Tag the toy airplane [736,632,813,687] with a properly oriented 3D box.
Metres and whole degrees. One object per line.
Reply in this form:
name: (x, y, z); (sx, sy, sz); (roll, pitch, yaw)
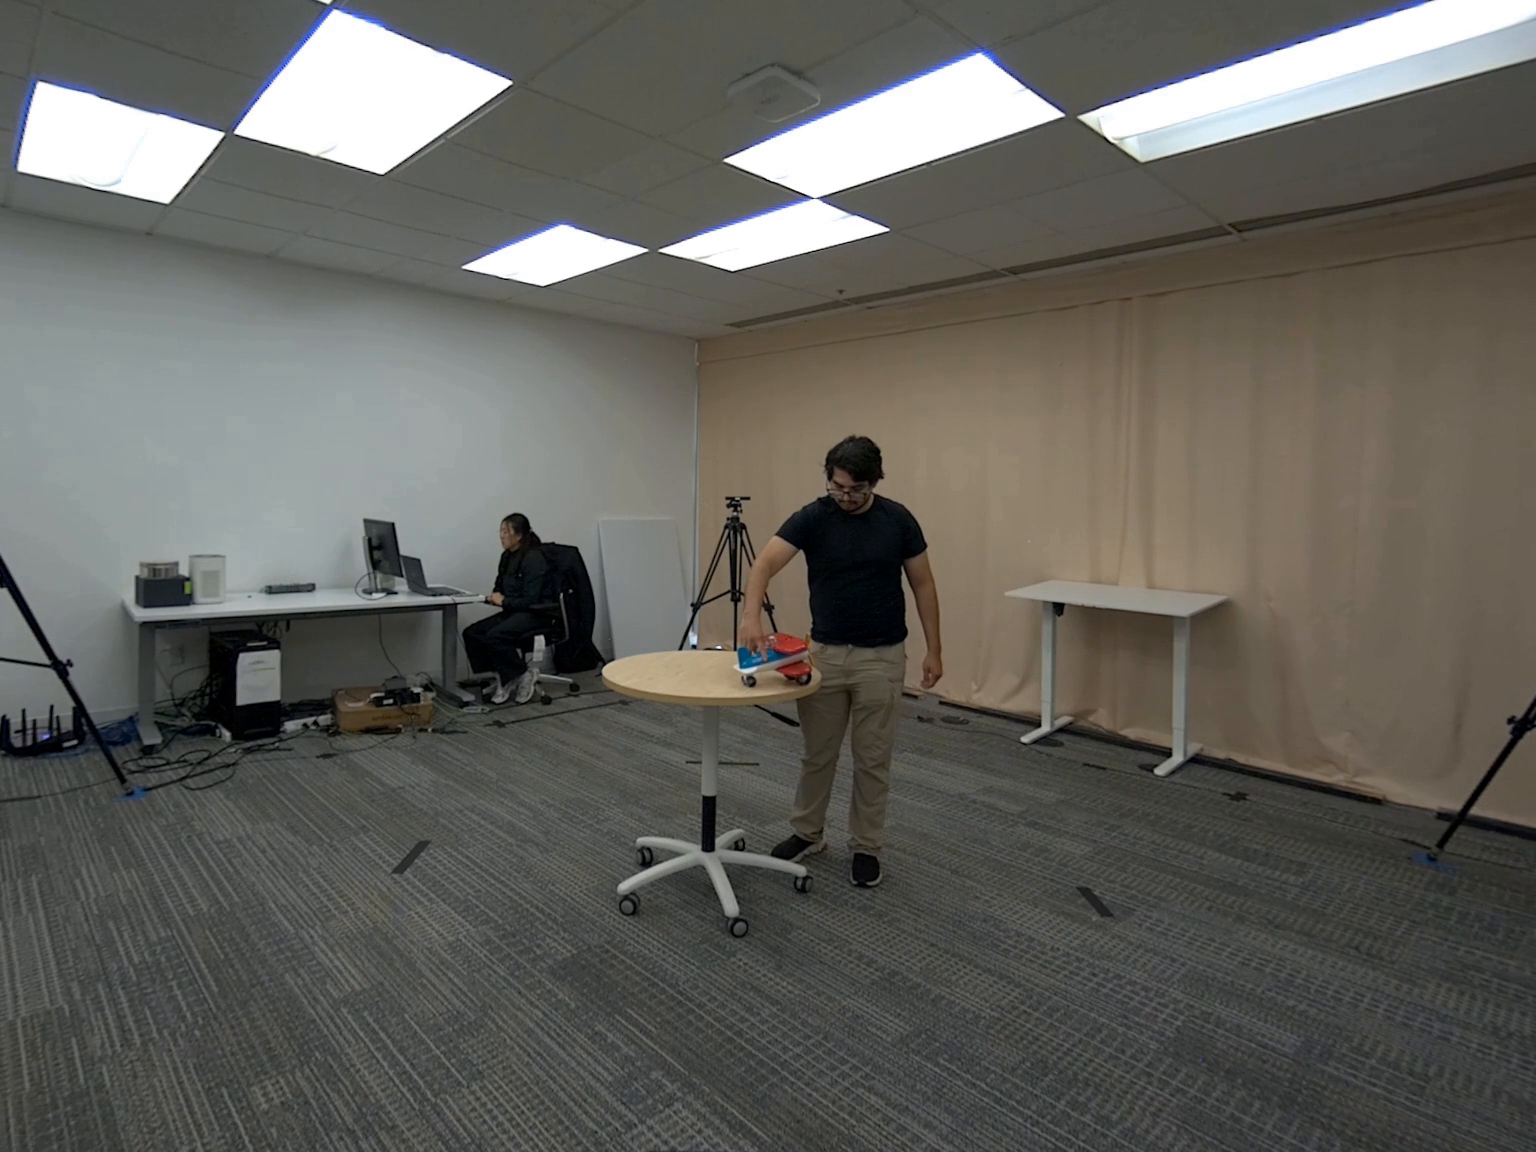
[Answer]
toy airplane: (0.025, 0.284, 2.759); (0.257, 0.156, 0.253); (6, 6, 40)
